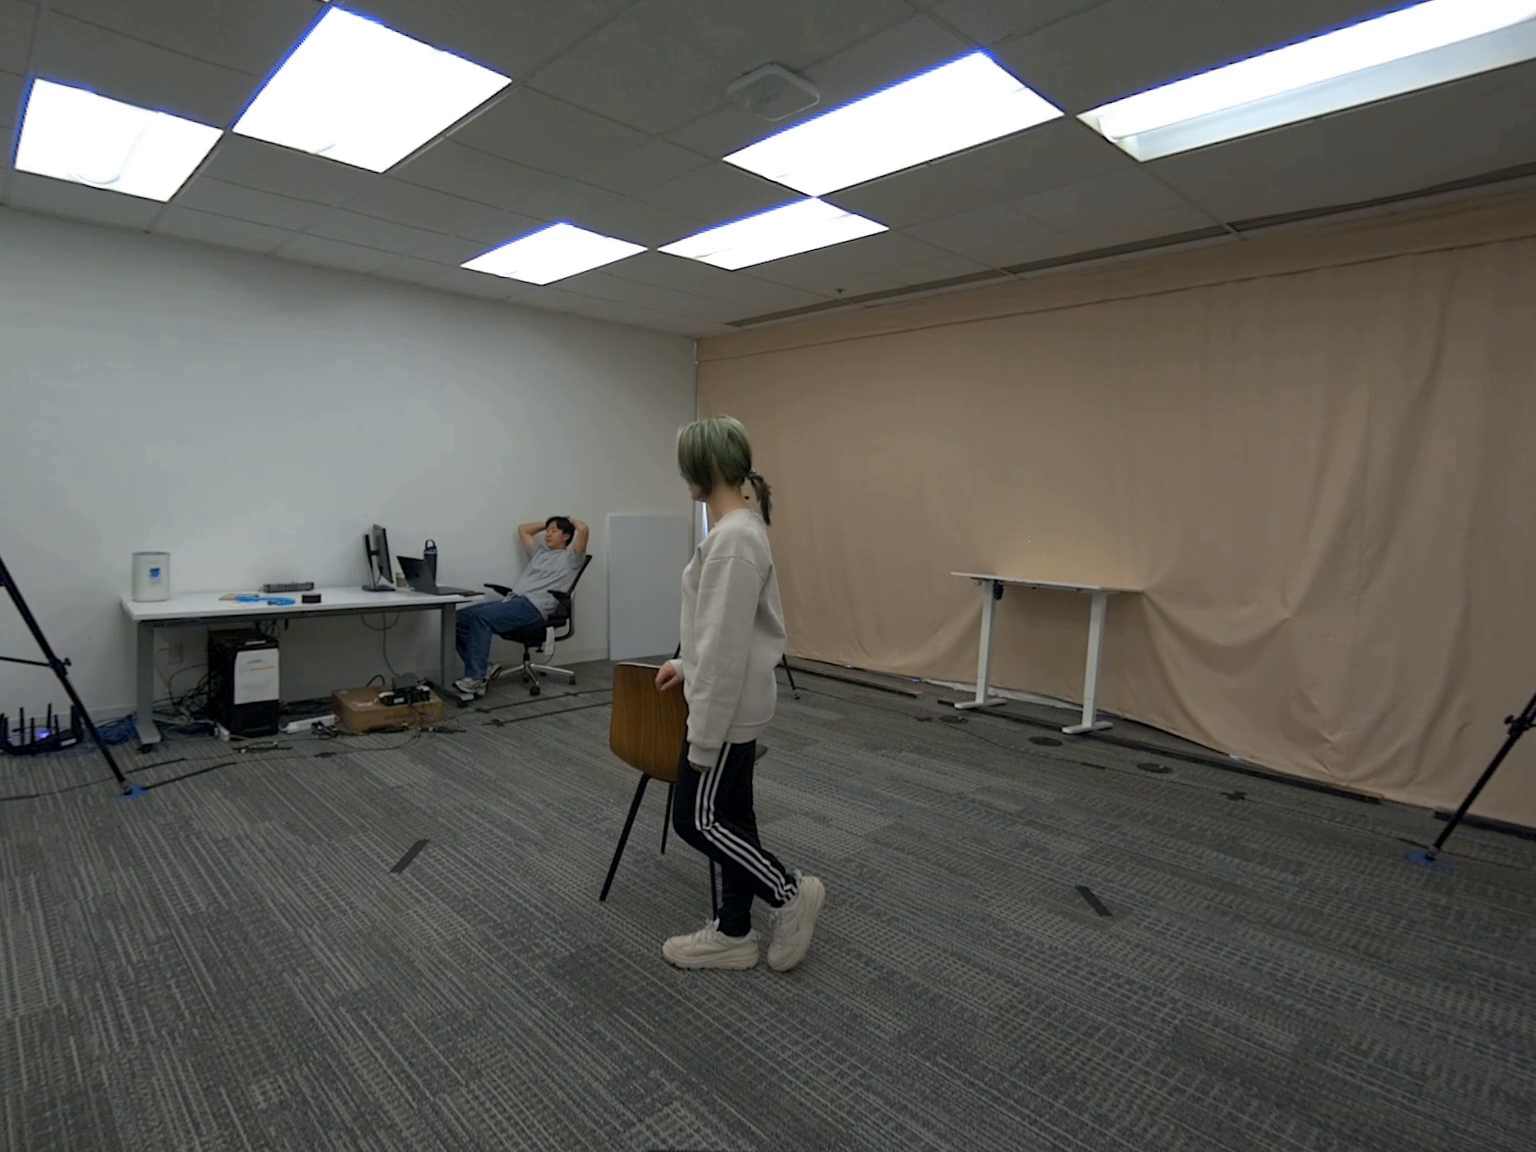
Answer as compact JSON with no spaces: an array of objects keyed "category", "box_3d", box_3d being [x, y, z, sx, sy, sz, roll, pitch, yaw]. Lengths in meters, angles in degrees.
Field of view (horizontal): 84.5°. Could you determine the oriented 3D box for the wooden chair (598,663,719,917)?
[{"category":"wooden chair","box_3d":[-0.278,0.685,2.976,0.487,0.872,0.516,3,8,23]}]
